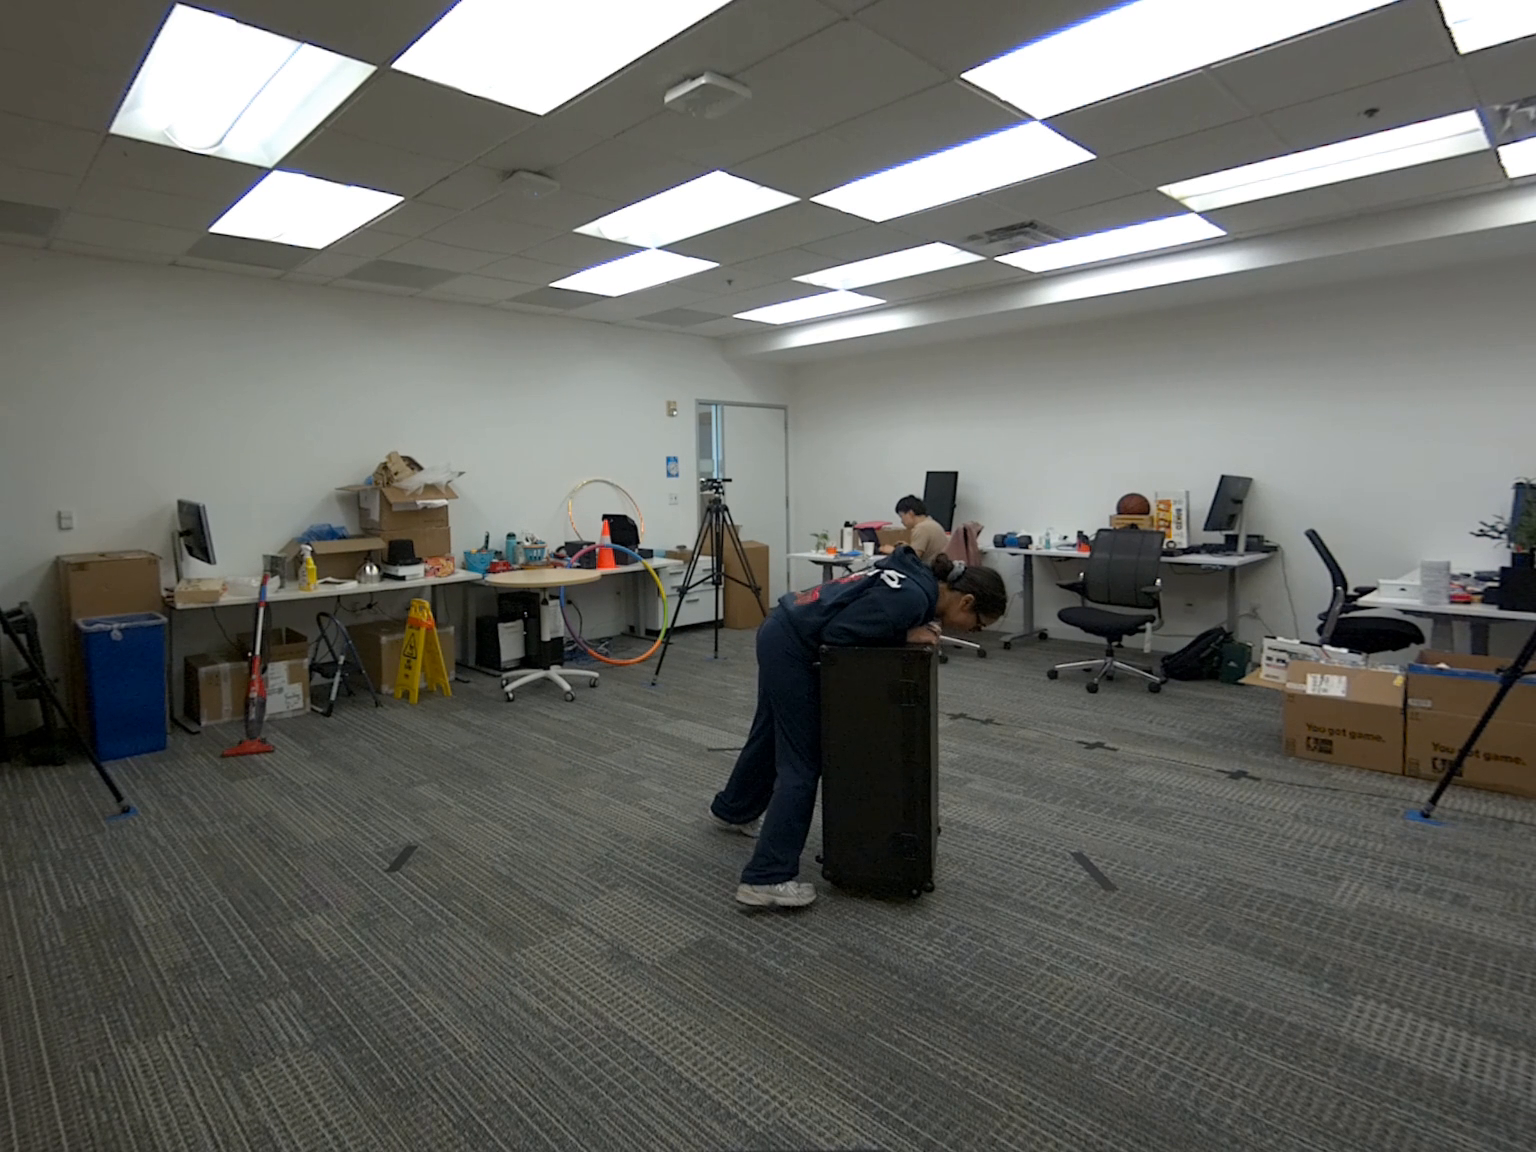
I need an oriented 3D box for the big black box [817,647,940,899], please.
[{"bbox_3d":[0.399,0.633,2.971,0.402,0.858,0.516,0,5,14],"label":"big black box"}]
